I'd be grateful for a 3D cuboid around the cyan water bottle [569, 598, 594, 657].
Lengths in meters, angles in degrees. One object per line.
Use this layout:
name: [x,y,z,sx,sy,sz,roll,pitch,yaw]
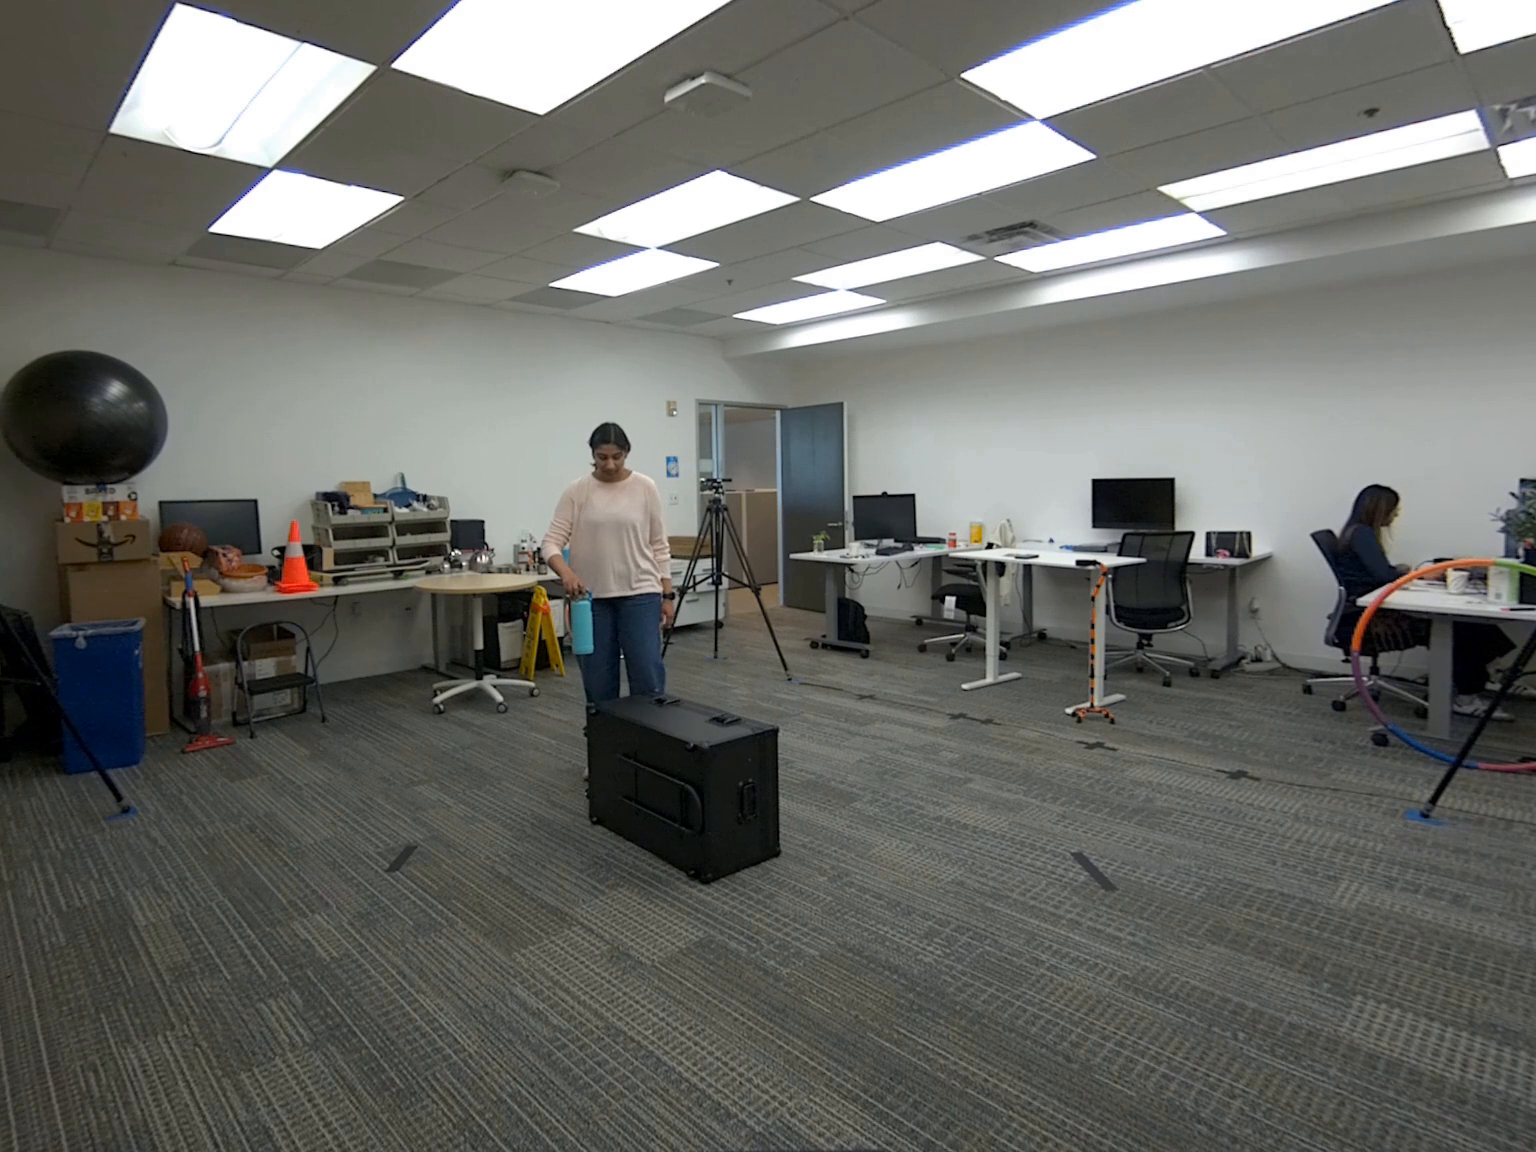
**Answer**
cyan water bottle: [-0.805,0.193,3.672,0.092,0.283,0.092,-2,1,-2]
